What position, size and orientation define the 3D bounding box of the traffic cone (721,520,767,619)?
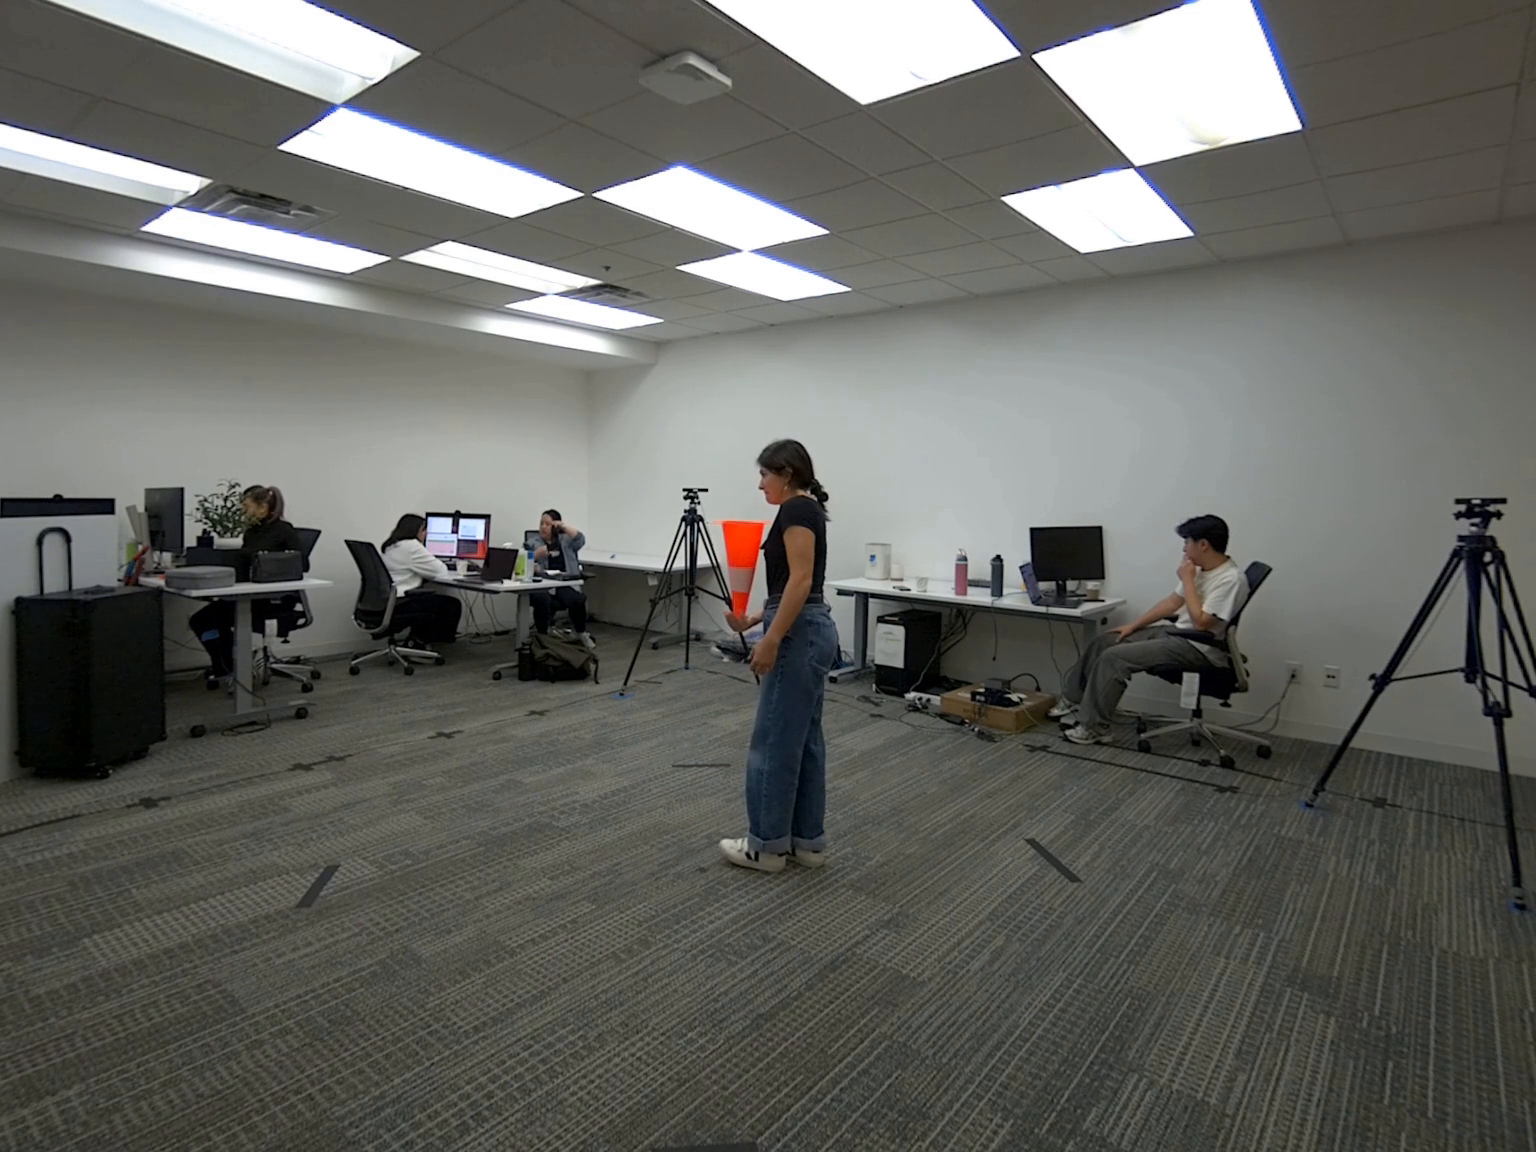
[{"bbox_3d":[-0.090,-0.015,3.156,0.206,0.383,0.202,3,1,6],"label":"traffic cone"}]
